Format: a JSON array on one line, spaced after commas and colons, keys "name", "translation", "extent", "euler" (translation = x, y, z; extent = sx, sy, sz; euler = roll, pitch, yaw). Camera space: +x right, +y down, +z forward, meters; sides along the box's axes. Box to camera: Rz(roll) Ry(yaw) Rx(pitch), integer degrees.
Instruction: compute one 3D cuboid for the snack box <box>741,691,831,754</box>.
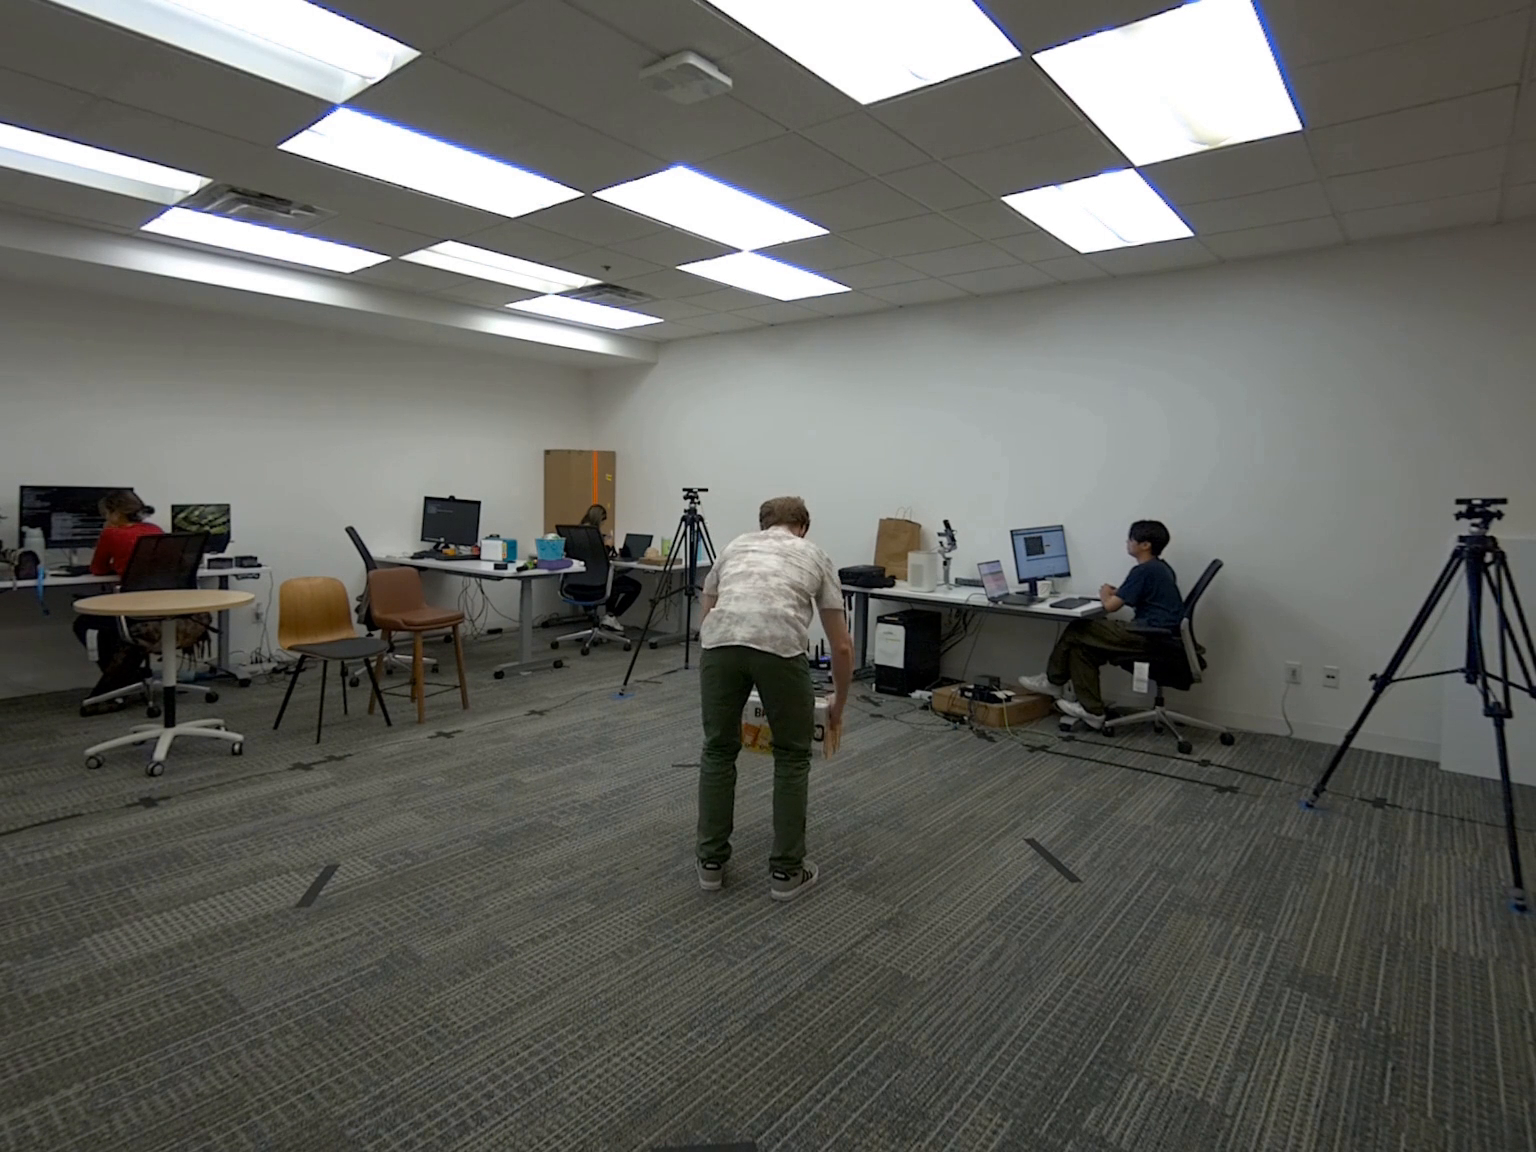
[{"name": "snack box", "translation": [0.054, 0.586, 3.416], "extent": [0.413, 0.206, 0.332], "euler": [2, -3, 18]}]
